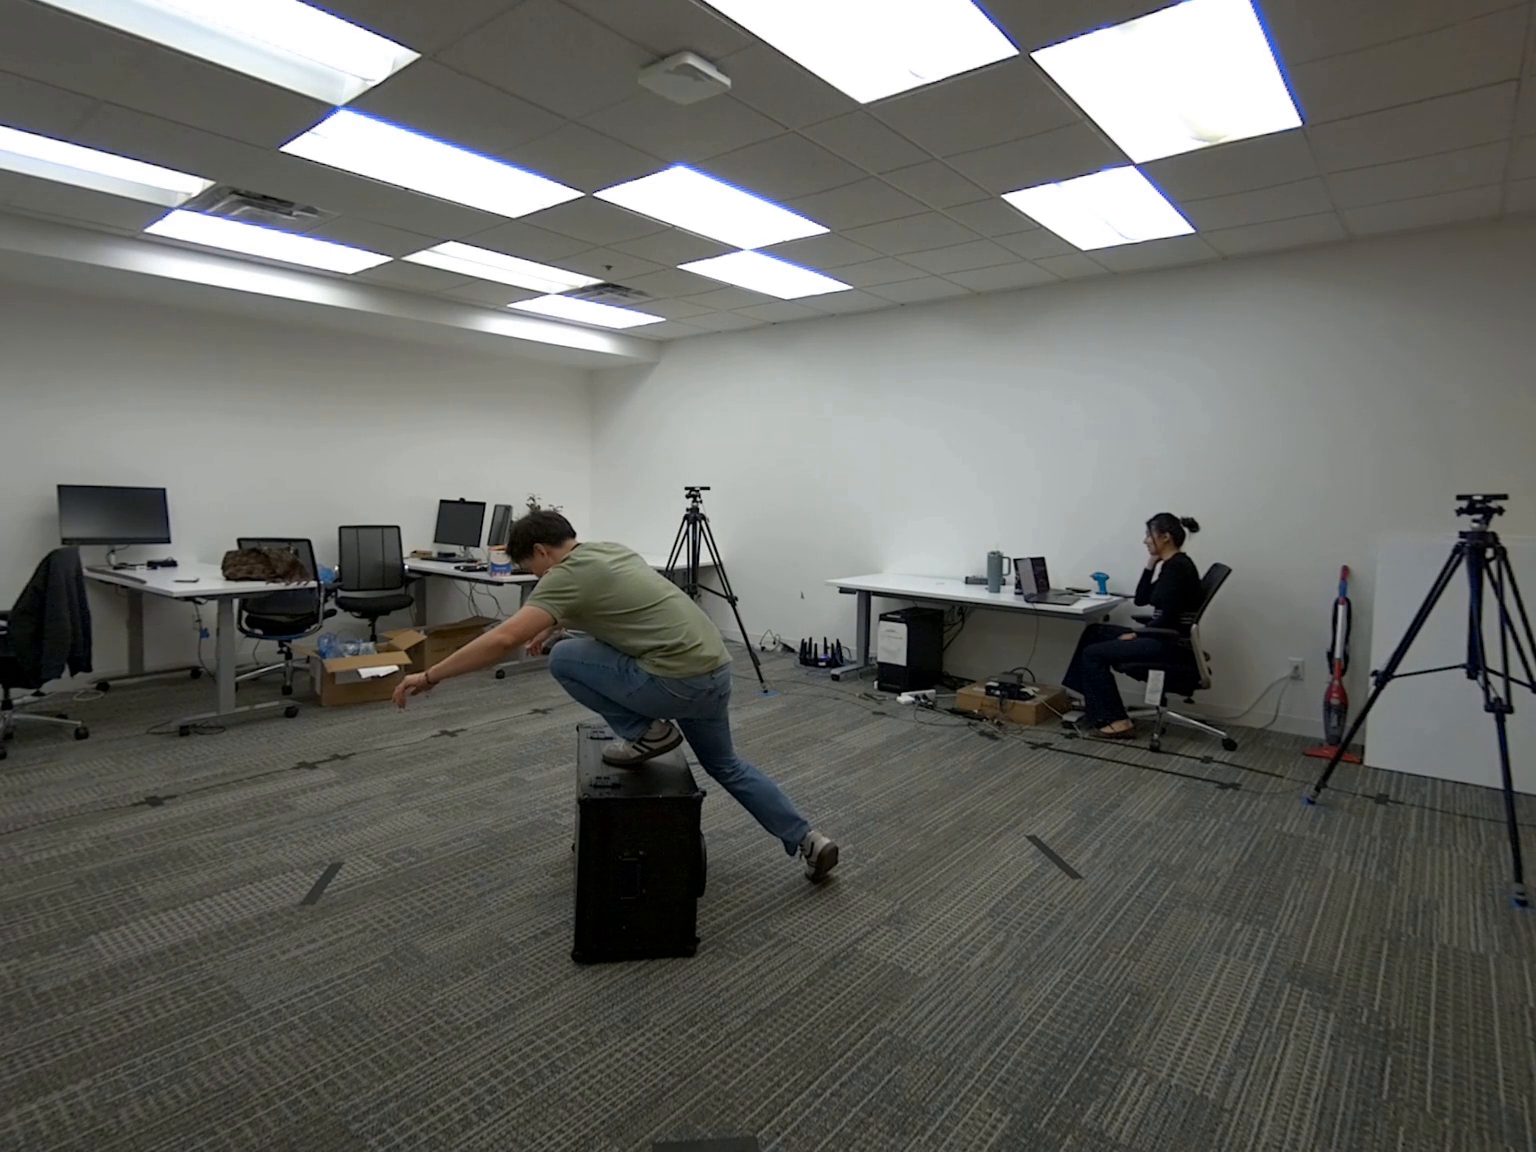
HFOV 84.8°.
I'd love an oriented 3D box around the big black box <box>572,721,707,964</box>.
[{"bbox_3d":[-0.467,0.829,2.886,0.391,0.520,0.876,2,5,-13],"label":"big black box"}]
